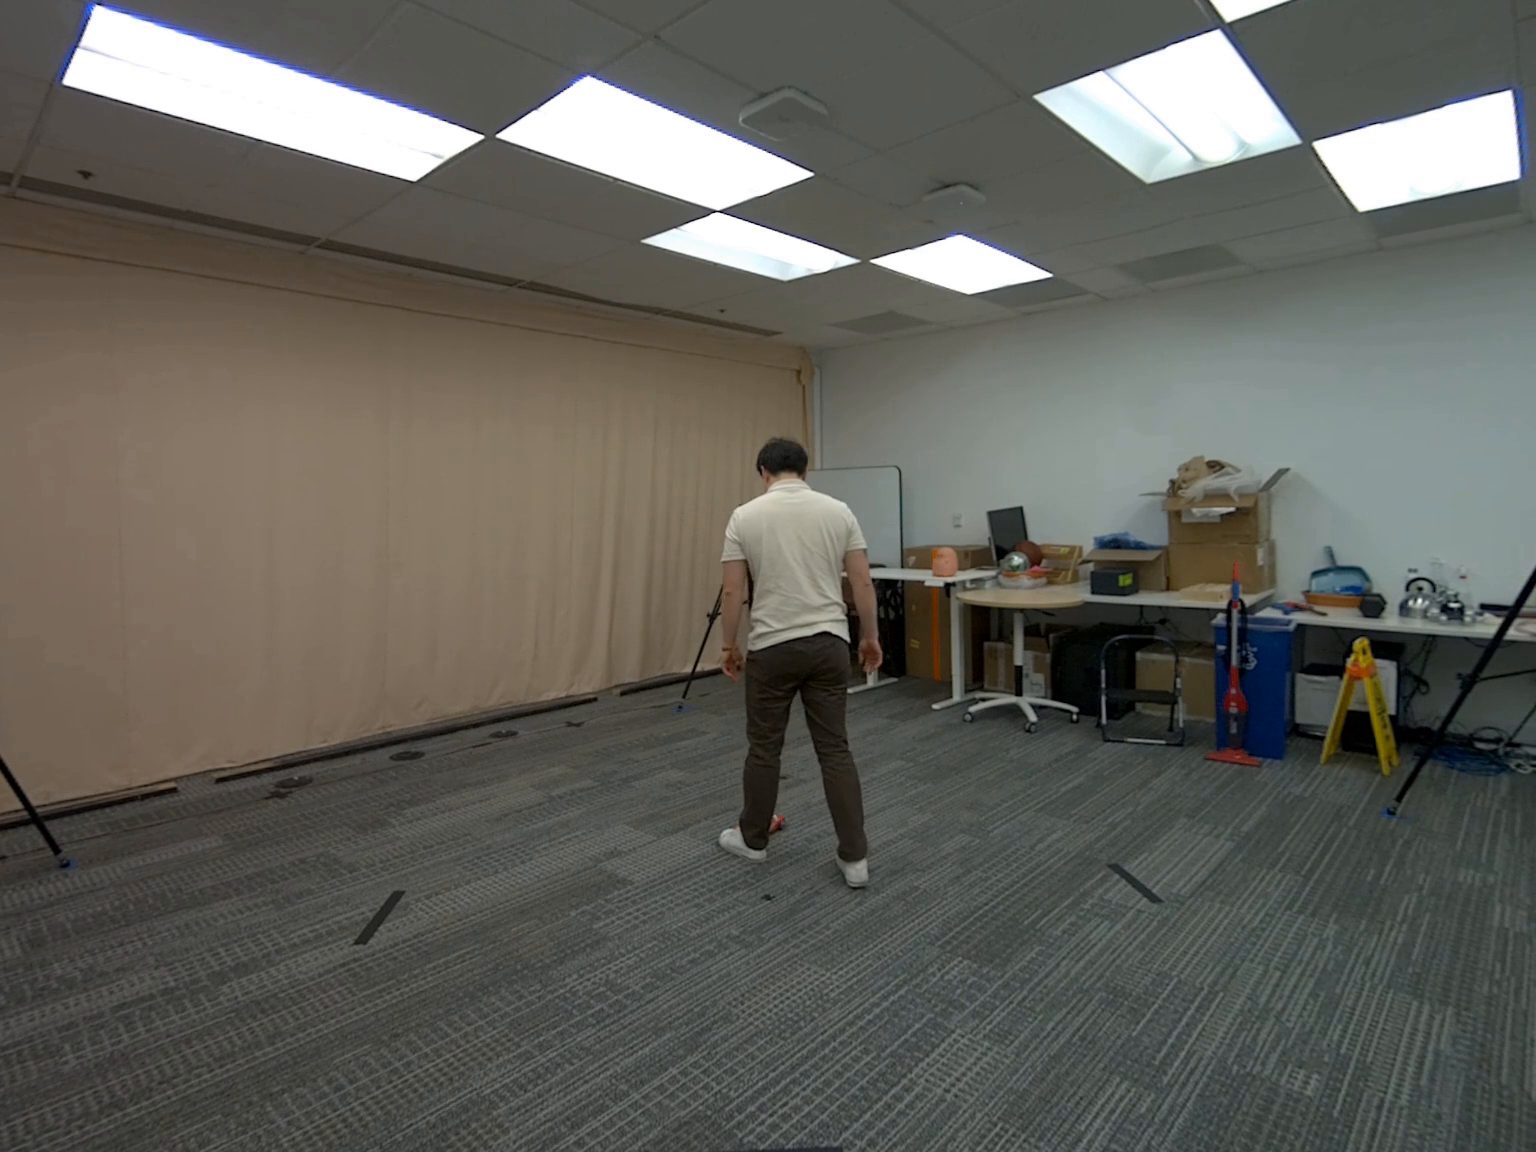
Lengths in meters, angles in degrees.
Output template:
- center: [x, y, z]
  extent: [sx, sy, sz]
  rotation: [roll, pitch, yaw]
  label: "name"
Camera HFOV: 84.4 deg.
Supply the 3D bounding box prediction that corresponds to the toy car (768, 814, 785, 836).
- center: [-0.035, 1.055, 3.561]
  extent: [0.134, 0.083, 0.246]
  rotation: [2, -6, 37]
  label: "toy car"
